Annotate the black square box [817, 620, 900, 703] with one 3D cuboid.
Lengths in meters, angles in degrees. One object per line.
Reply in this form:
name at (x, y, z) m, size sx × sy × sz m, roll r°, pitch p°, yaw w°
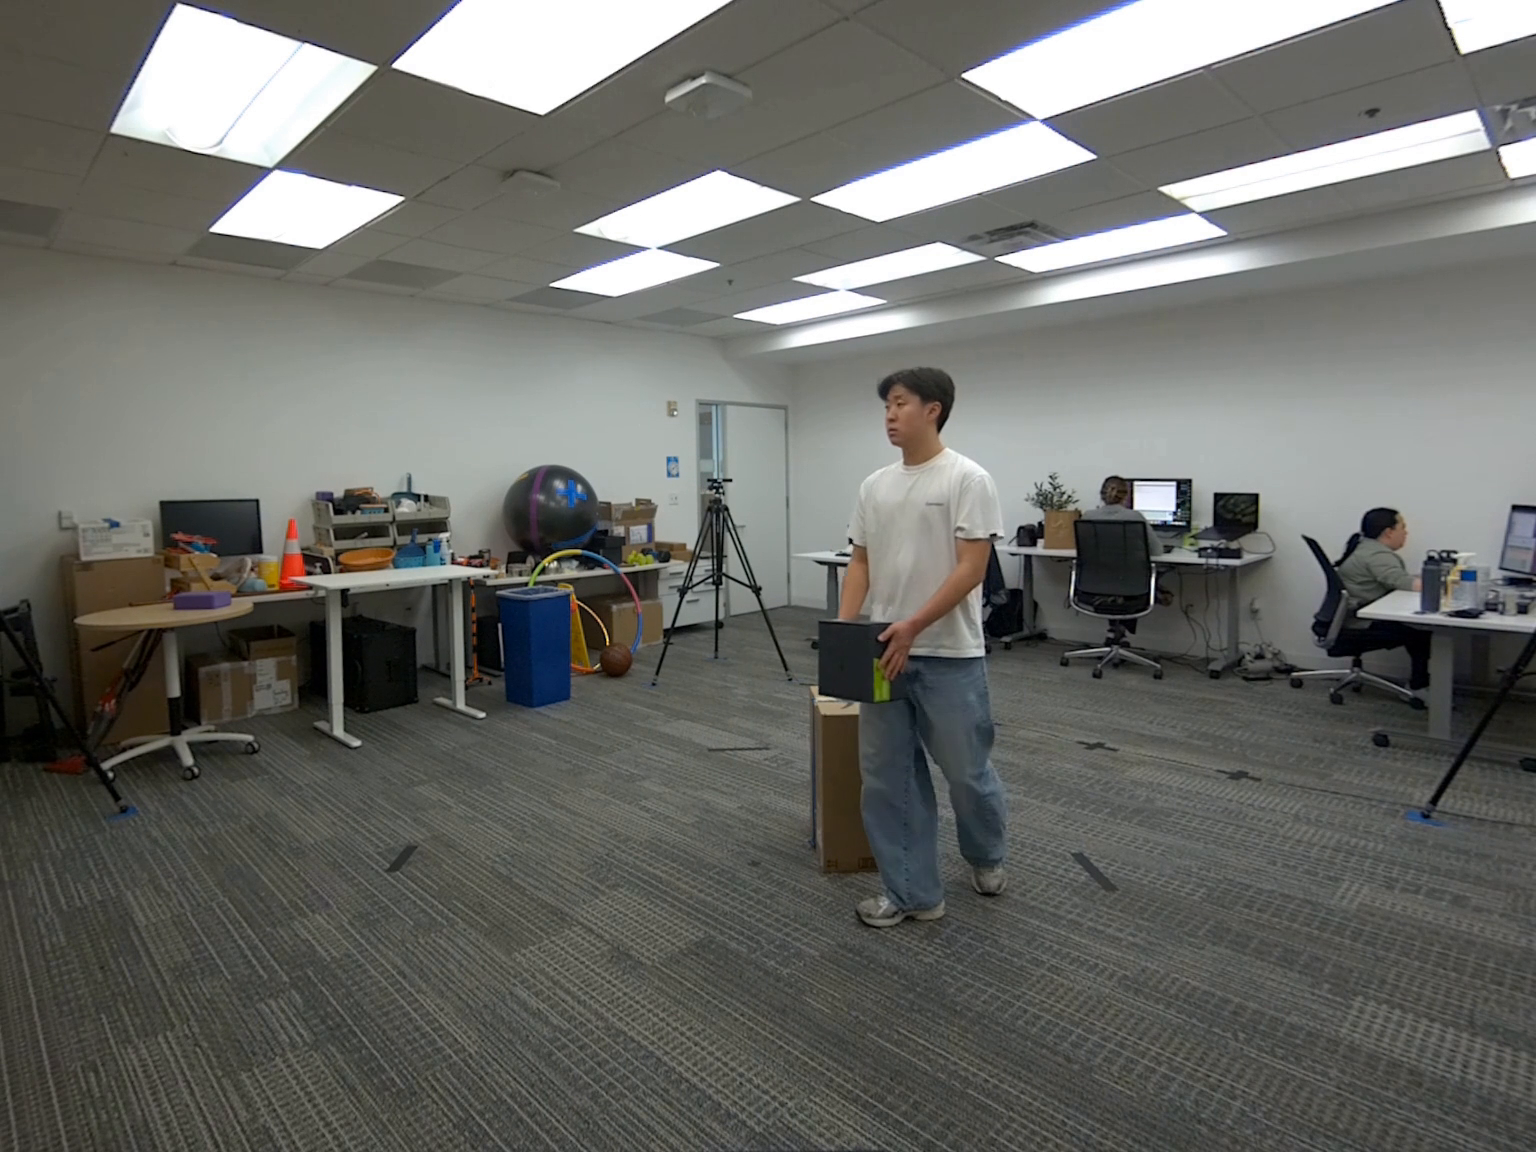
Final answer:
black square box at (0.301, 0.256, 2.570) m, size 0.151 × 0.228 × 0.223 m, roll 1°, pitch -2°, yaw -38°
